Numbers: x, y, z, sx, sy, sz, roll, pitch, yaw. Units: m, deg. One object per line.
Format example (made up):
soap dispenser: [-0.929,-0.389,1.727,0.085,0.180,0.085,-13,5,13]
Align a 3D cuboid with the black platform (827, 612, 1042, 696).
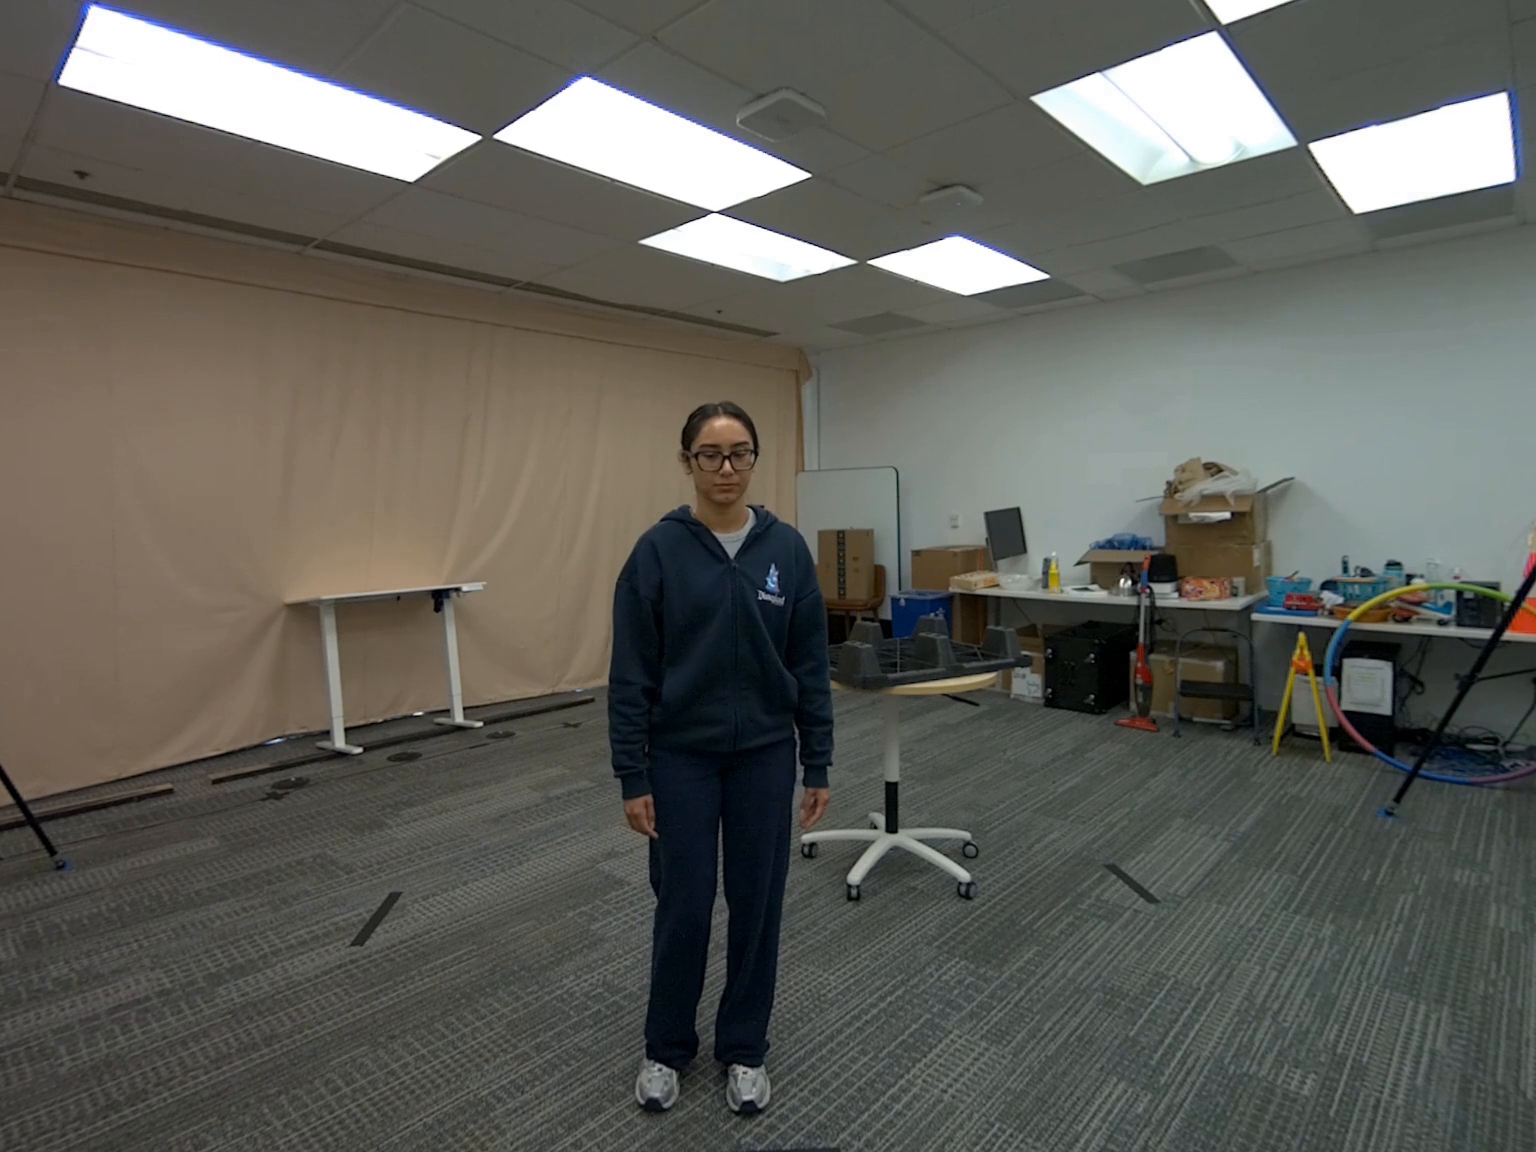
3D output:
black platform: [0.500,0.270,3.186,0.784,0.143,0.623,-3,6,-30]
